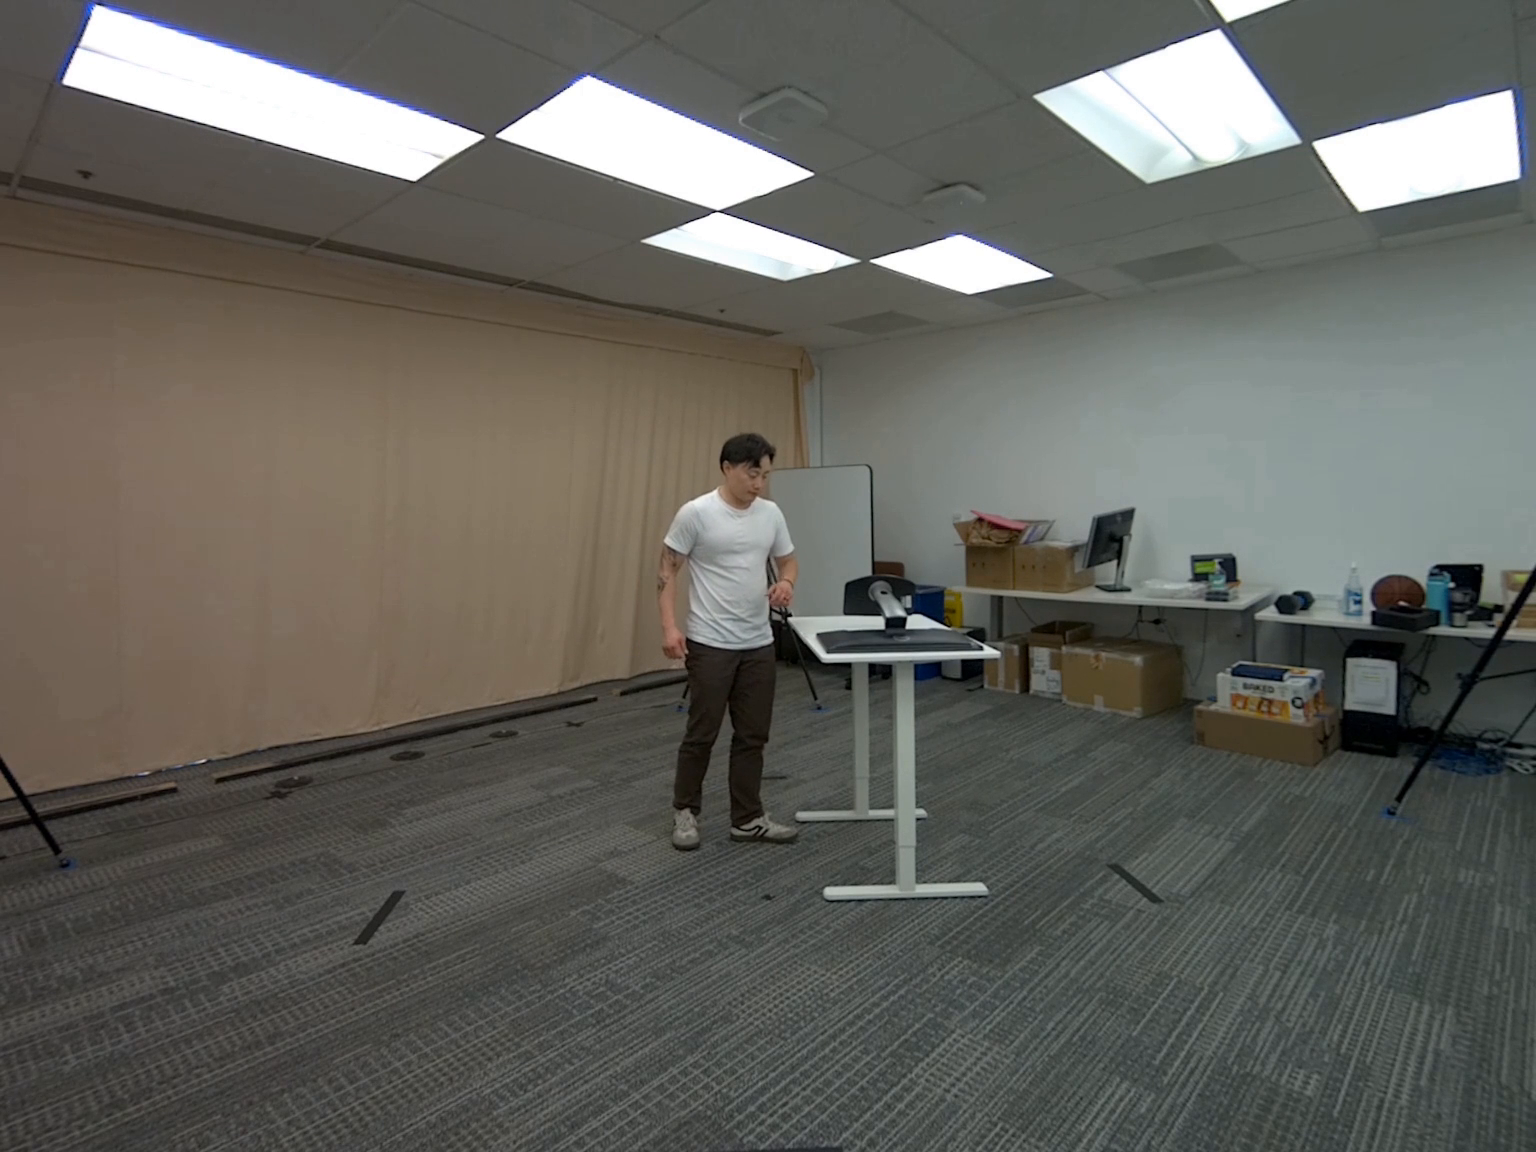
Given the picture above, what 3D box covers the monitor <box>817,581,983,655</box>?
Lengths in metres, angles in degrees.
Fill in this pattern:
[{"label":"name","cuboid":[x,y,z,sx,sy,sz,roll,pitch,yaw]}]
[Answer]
[{"label":"monitor","cuboid":[0.469,0.178,3.113,0.539,0.184,0.529,-3,22,0]}]
